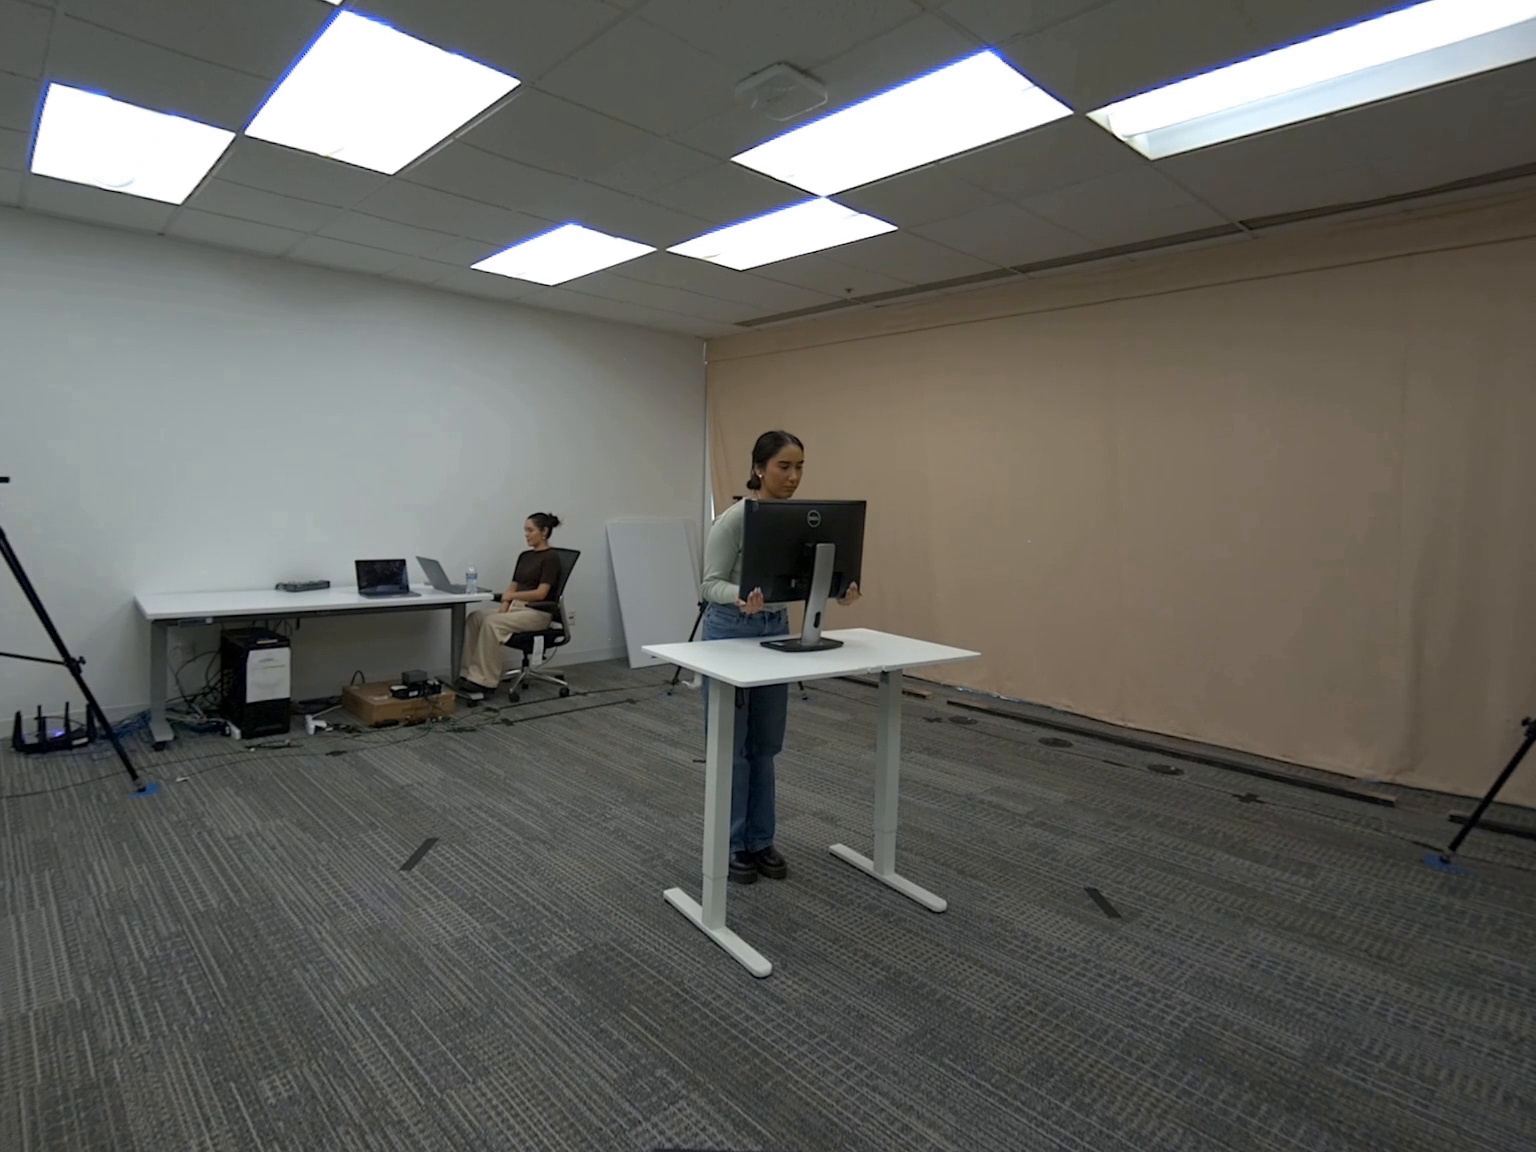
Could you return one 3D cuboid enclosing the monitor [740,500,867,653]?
[{"bbox_3d":[0.127,-0.001,2.900,0.527,0.522,0.191,-1,1,-39],"label":"monitor"}]
